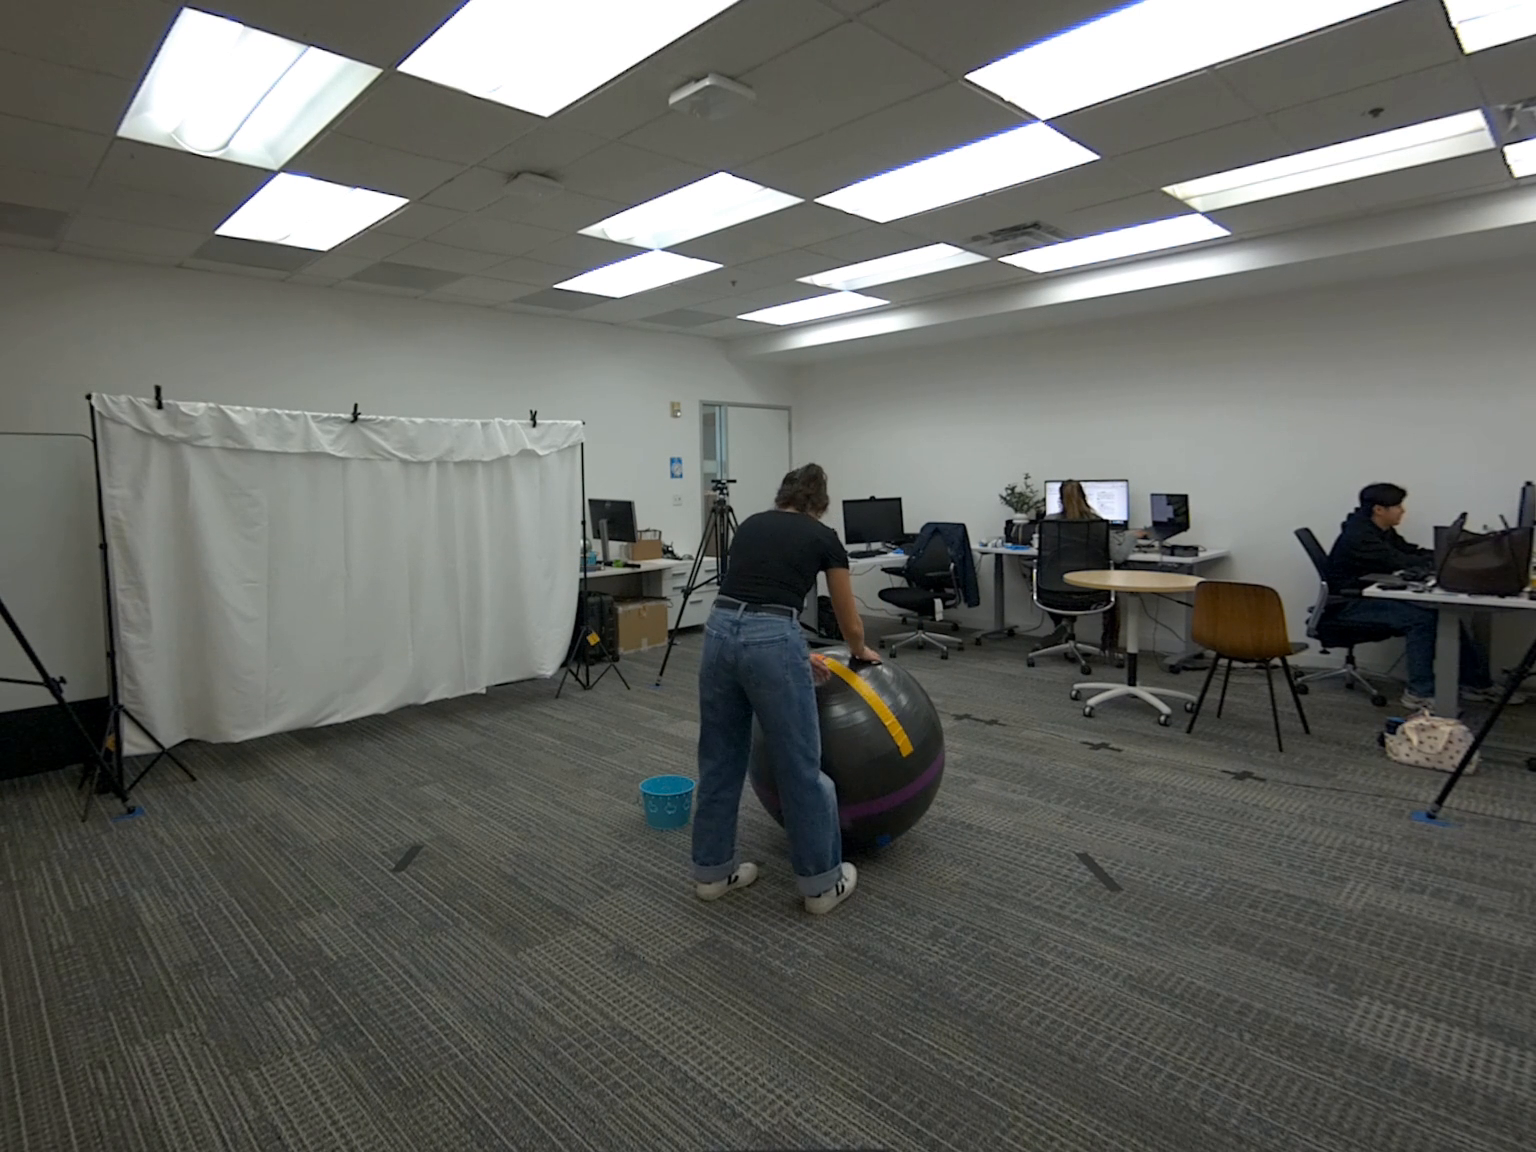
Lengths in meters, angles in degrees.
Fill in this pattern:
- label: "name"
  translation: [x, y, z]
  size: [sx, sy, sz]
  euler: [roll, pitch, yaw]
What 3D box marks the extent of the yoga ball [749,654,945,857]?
- label: "yoga ball"
  translation: [0.285, 0.653, 3.273]
  size: [0.757, 0.755, 0.762]
  euler: [-1, 5, -2]
